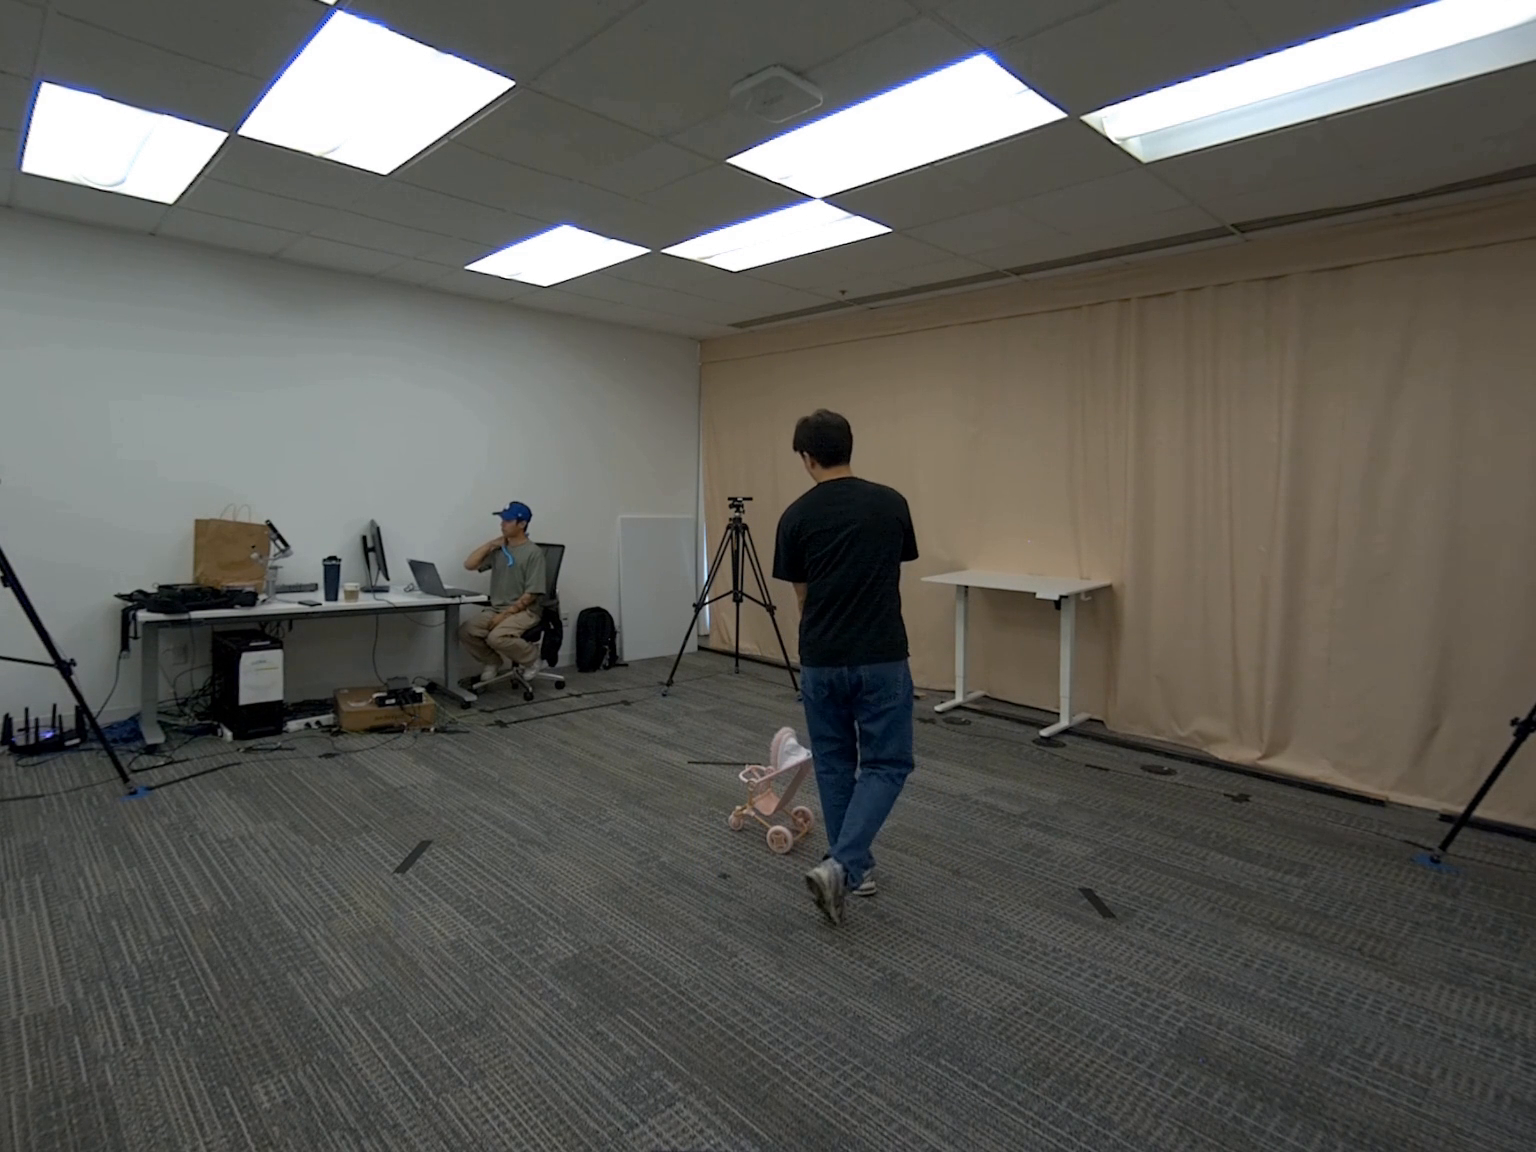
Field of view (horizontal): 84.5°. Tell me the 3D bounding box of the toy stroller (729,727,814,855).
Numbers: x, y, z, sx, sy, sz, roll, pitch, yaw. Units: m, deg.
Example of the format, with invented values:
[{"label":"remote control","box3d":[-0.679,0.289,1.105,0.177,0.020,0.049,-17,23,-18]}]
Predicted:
[{"label":"toy stroller","box3d":[0.037,0.857,3.452,0.350,0.532,0.276,22,12,27]}]
